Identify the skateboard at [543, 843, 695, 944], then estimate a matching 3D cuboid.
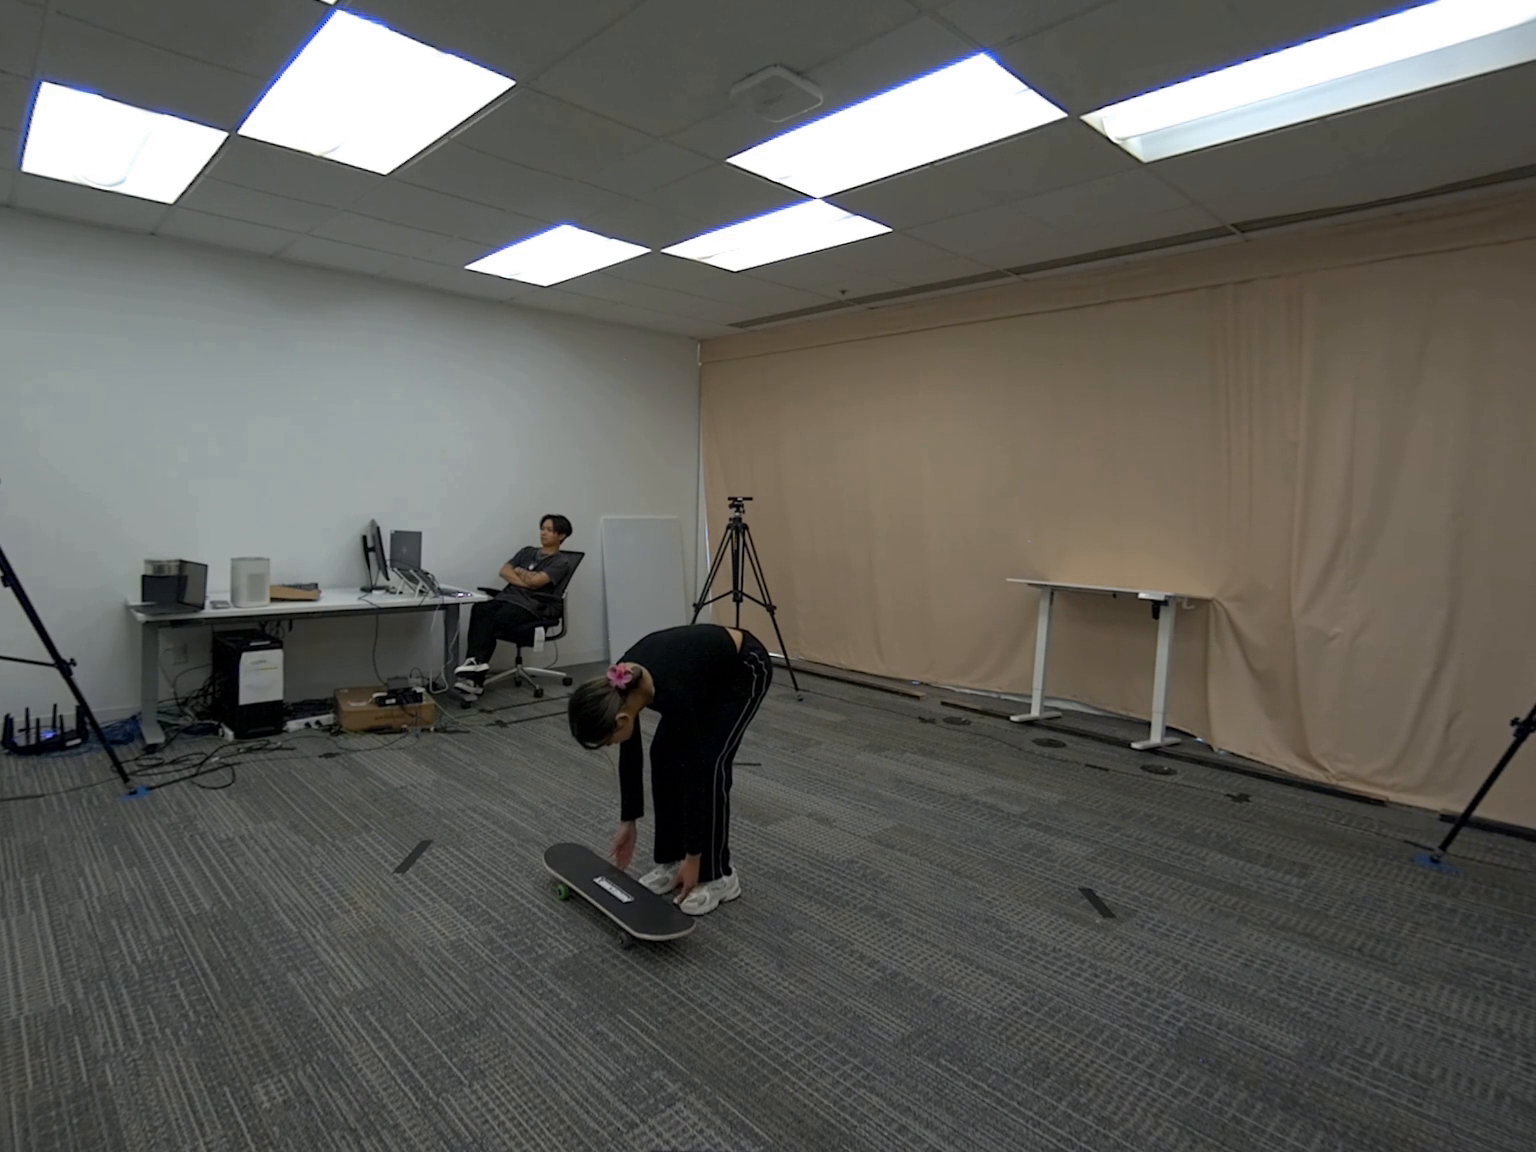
[{"bbox_3d":[-0.531,1.078,2.788,0.189,0.110,0.806,-4,7,-41],"label":"skateboard"}]
